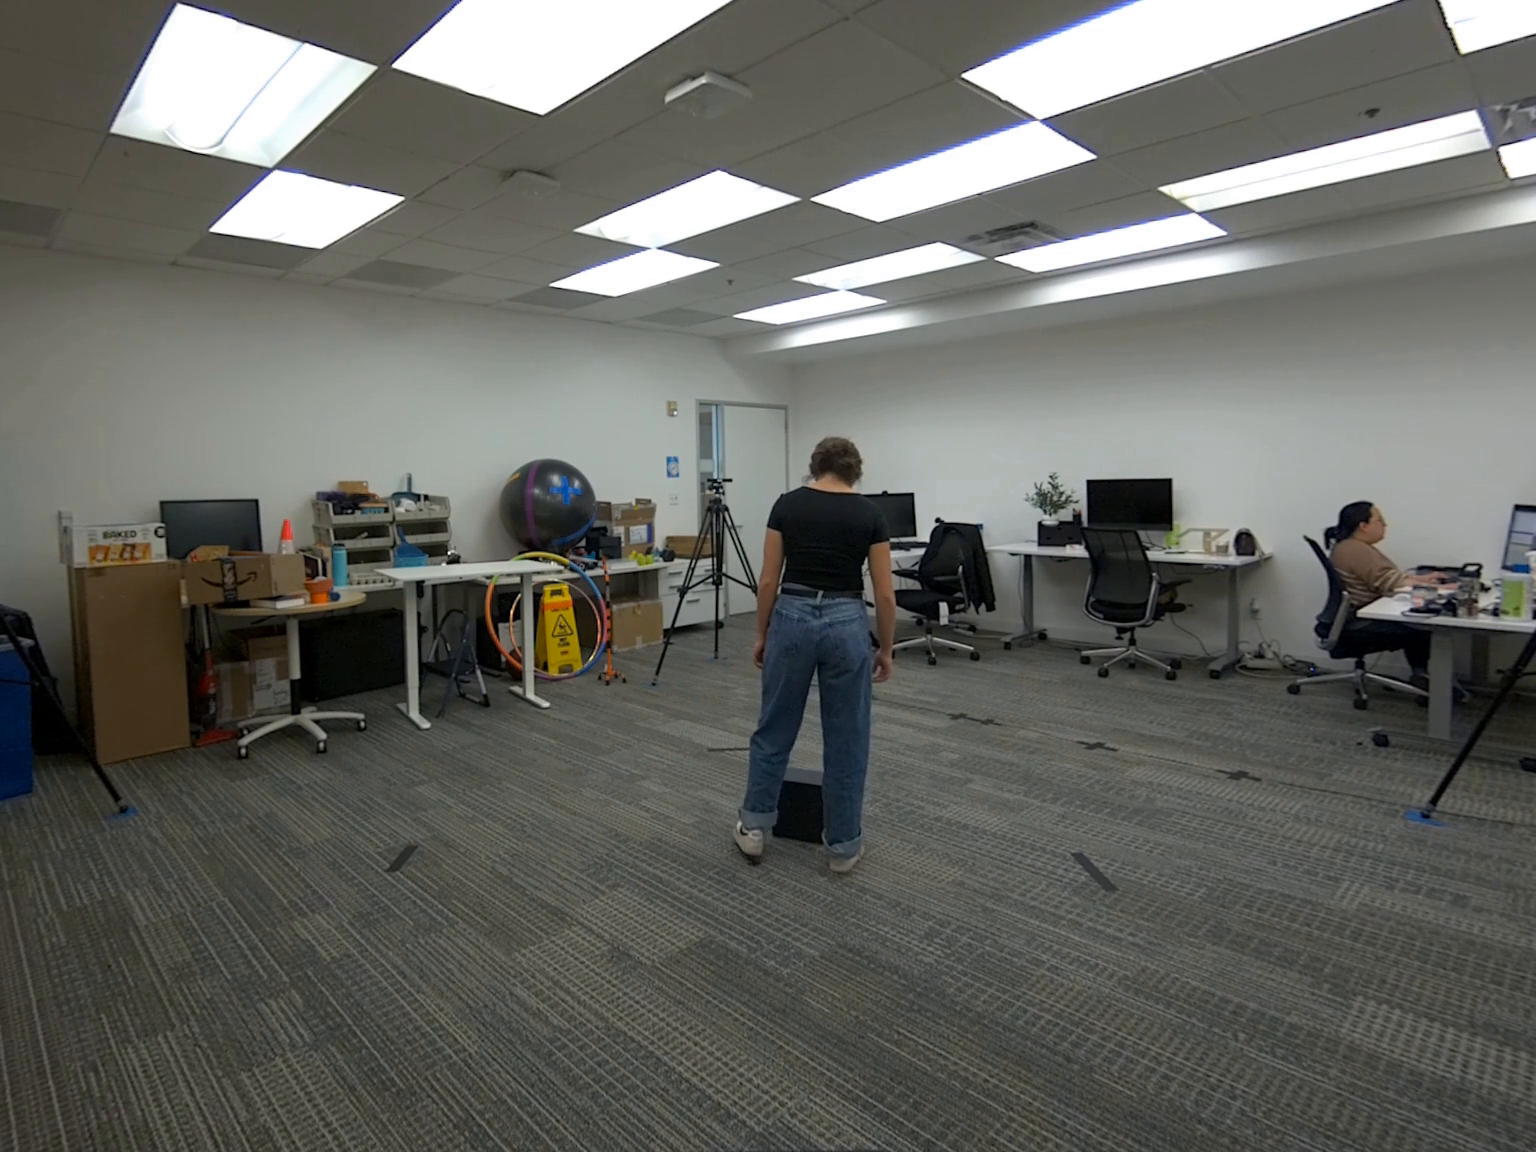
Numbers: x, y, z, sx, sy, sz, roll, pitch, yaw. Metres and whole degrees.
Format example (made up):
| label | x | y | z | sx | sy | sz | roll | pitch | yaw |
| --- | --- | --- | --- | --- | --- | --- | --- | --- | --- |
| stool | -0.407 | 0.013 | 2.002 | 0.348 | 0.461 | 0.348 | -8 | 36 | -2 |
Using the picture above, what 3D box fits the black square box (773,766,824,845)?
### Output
| label | x | y | z | sx | sy | sz | roll | pitch | yaw |
| --- | --- | --- | --- | --- | --- | --- | --- | --- | --- |
| black square box | 0.142 | 0.895 | 3.368 | 0.221 | 0.227 | 0.153 | 0 | 4 | 23 |
